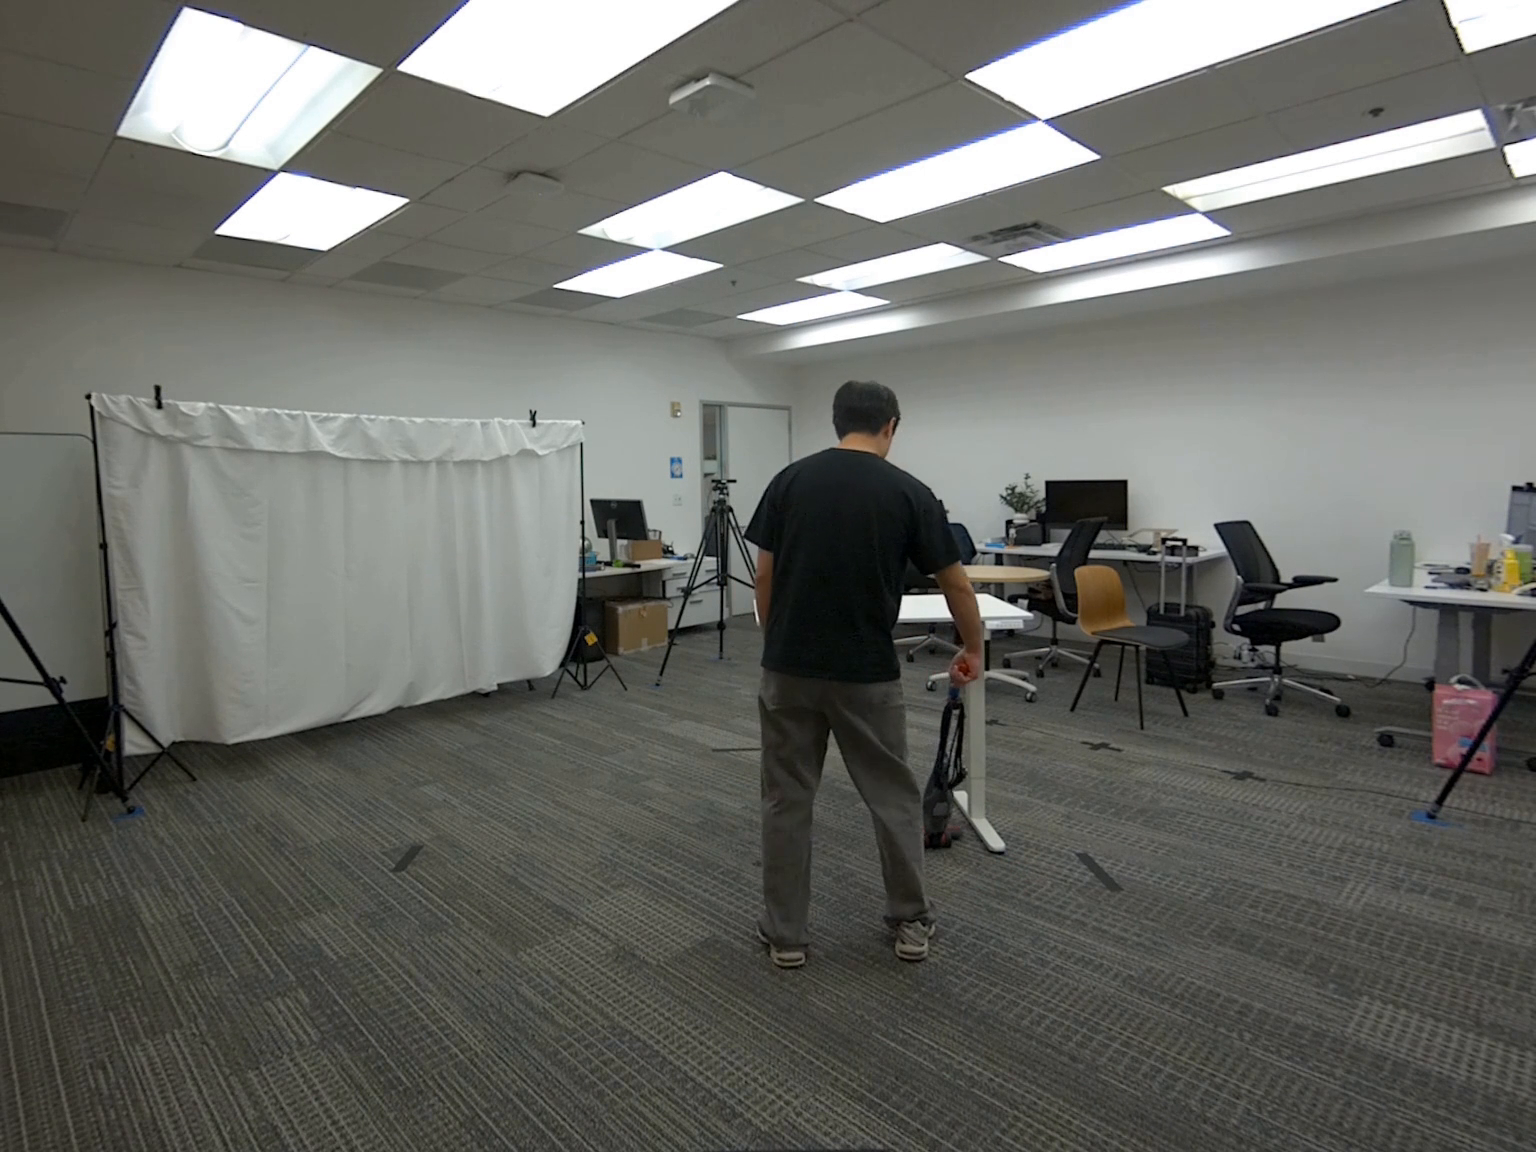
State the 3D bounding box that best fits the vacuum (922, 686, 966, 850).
[{"bbox_3d":[0.600,0.638,2.913,0.254,1.018,0.147,3,46,6],"label":"vacuum"}]
